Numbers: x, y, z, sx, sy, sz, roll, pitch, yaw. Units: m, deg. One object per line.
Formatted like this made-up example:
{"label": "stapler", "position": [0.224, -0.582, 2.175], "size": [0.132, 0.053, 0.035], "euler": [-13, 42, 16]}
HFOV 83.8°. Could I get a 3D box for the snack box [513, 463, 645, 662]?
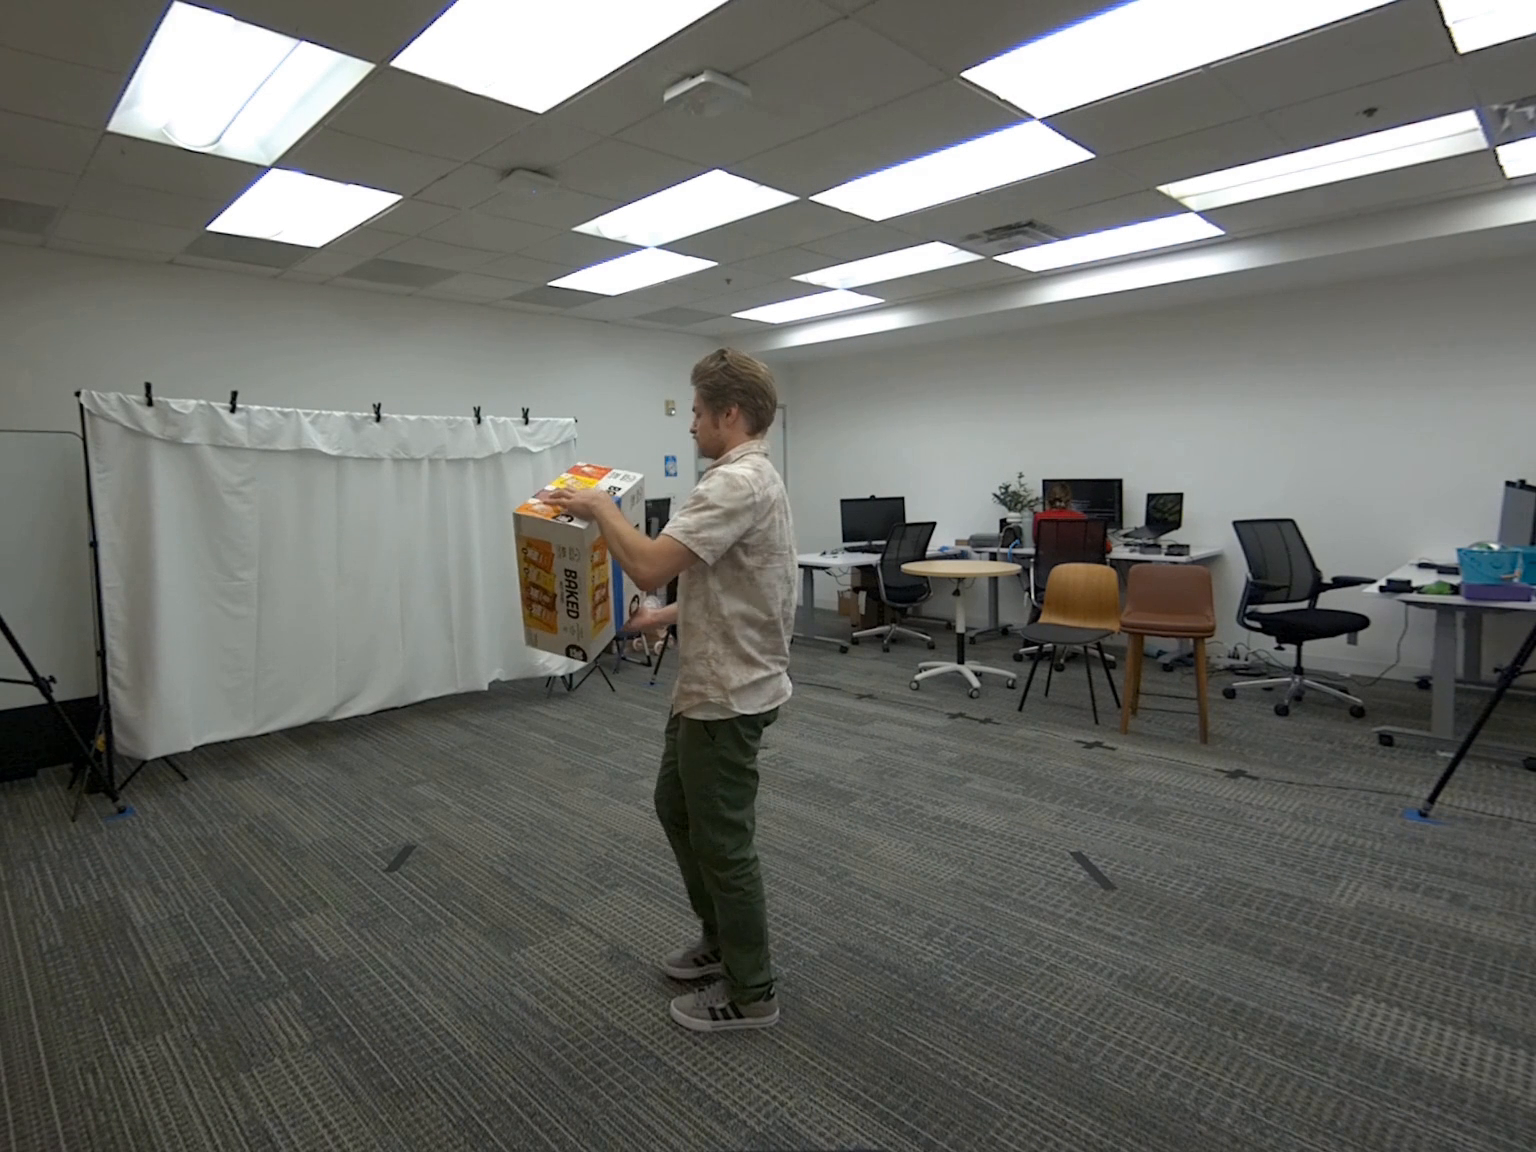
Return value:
{"label": "snack box", "position": [-0.495, -0.044, 2.298], "size": [0.209, 0.396, 0.342], "euler": [13, 32, 13]}
